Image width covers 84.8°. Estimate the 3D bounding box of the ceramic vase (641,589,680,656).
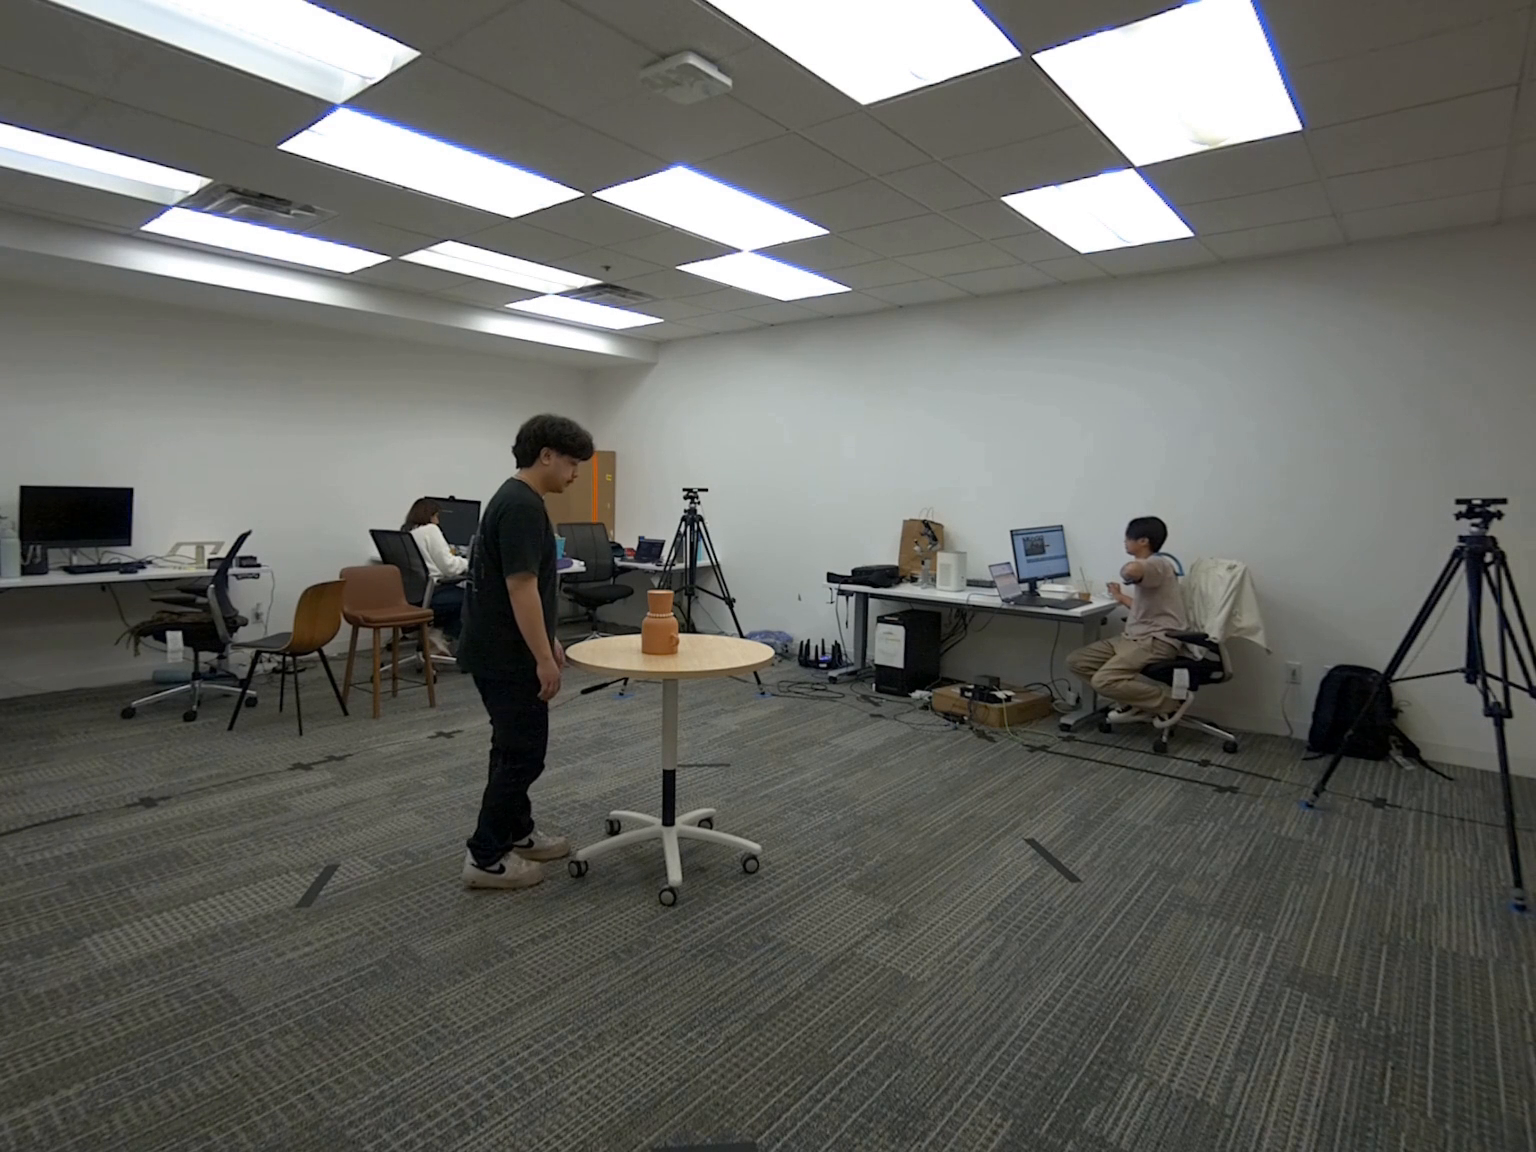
[{"bbox_3d":[-0.406,0.166,3.091,0.159,0.219,0.134,1,3,3],"label":"ceramic vase"}]
